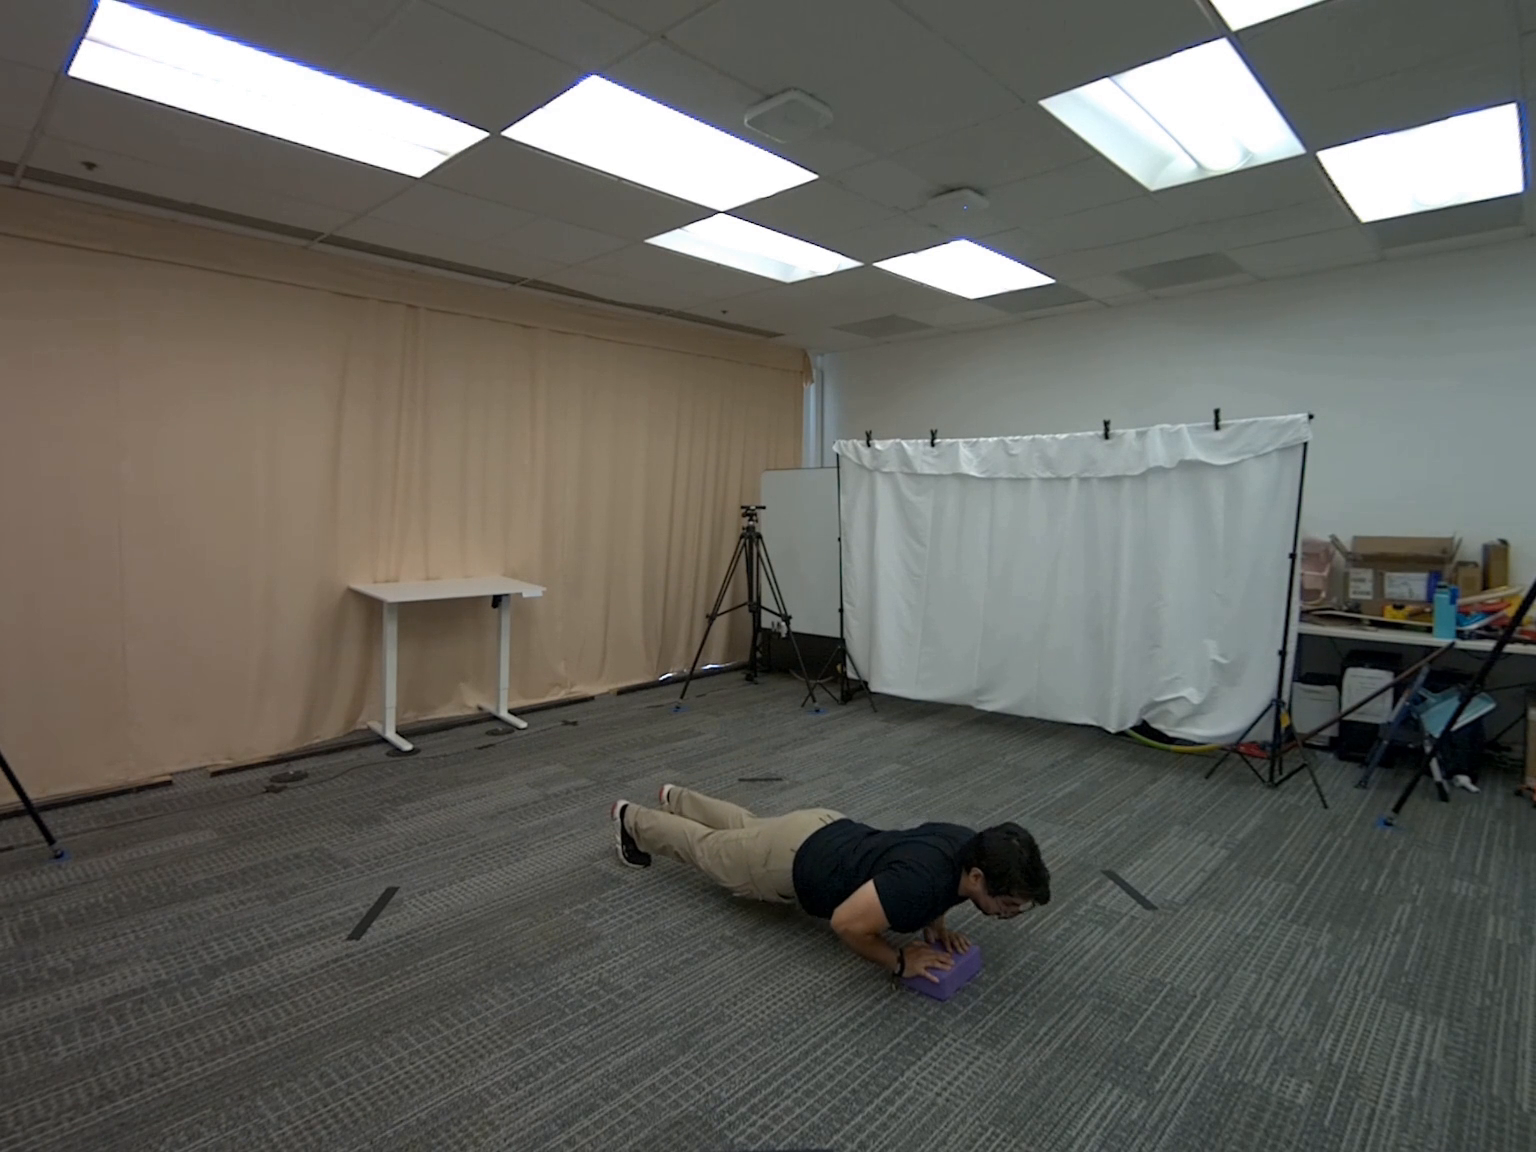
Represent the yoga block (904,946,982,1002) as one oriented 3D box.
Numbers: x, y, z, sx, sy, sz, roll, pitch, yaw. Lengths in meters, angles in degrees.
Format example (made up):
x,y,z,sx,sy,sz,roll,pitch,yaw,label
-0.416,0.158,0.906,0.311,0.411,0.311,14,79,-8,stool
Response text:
x,y,z,sx,sy,sz,roll,pitch,yaw,label
0.506,1.145,2.478,0.154,0.076,0.222,2,6,42,yoga block
